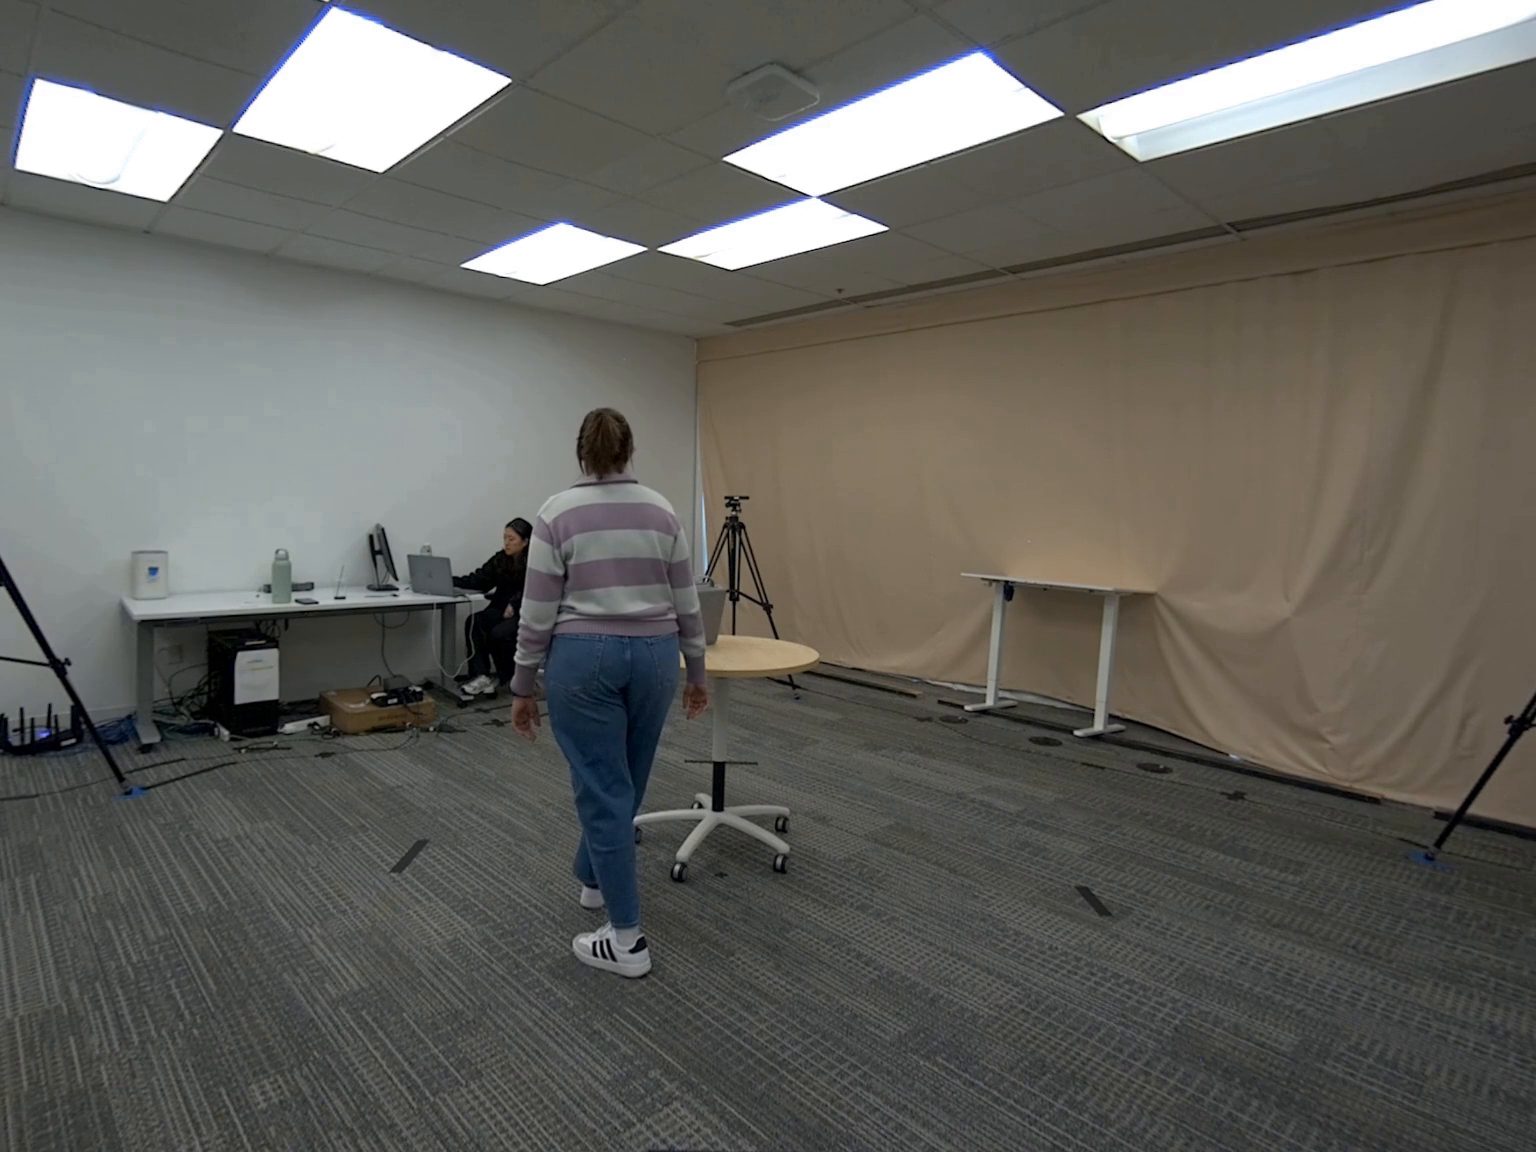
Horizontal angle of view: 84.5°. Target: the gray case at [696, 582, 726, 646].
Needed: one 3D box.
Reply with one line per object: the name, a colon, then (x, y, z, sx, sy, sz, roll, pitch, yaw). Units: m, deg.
gray case: (-0.305, 0.155, 3.417, 0.107, 0.259, 0.251, 20, 15, 38)
